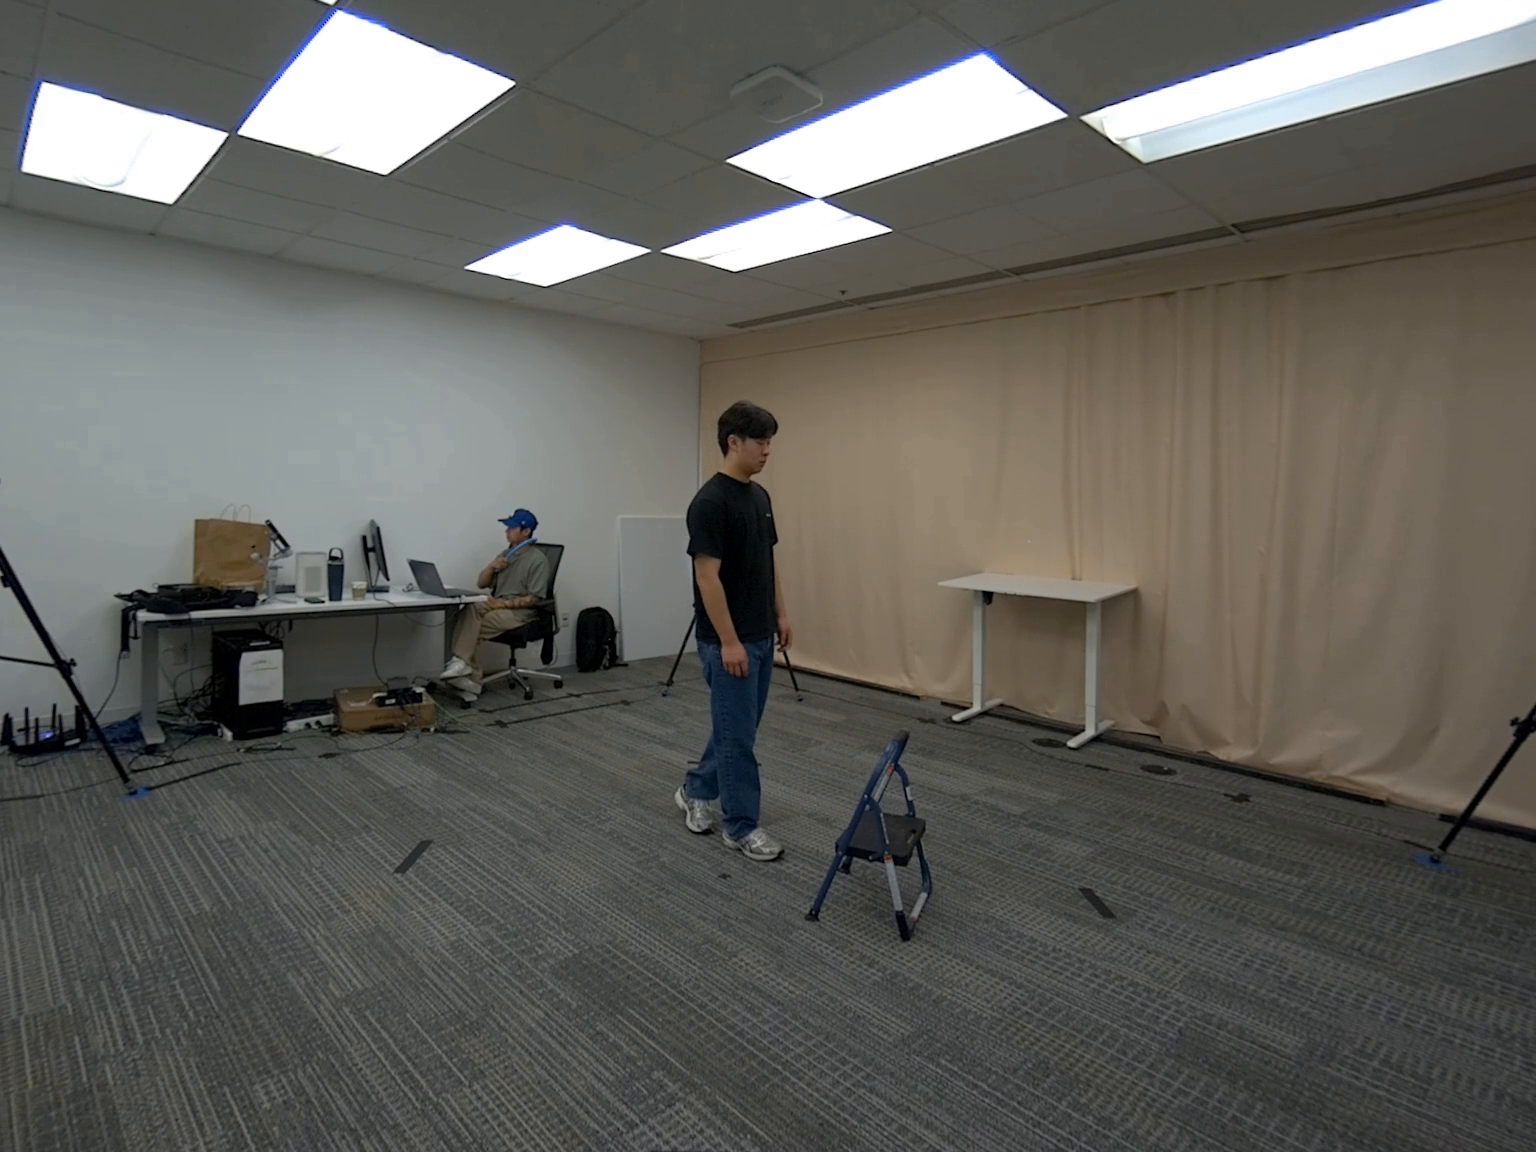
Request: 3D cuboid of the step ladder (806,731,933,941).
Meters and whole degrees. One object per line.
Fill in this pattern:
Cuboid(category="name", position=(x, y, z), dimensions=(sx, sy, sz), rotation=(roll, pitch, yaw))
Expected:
Cuboid(category="step ladder", position=(0.365, 0.835, 2.900), dimensions=(0.355, 0.604, 0.424), rotation=(3, 4, 21))
